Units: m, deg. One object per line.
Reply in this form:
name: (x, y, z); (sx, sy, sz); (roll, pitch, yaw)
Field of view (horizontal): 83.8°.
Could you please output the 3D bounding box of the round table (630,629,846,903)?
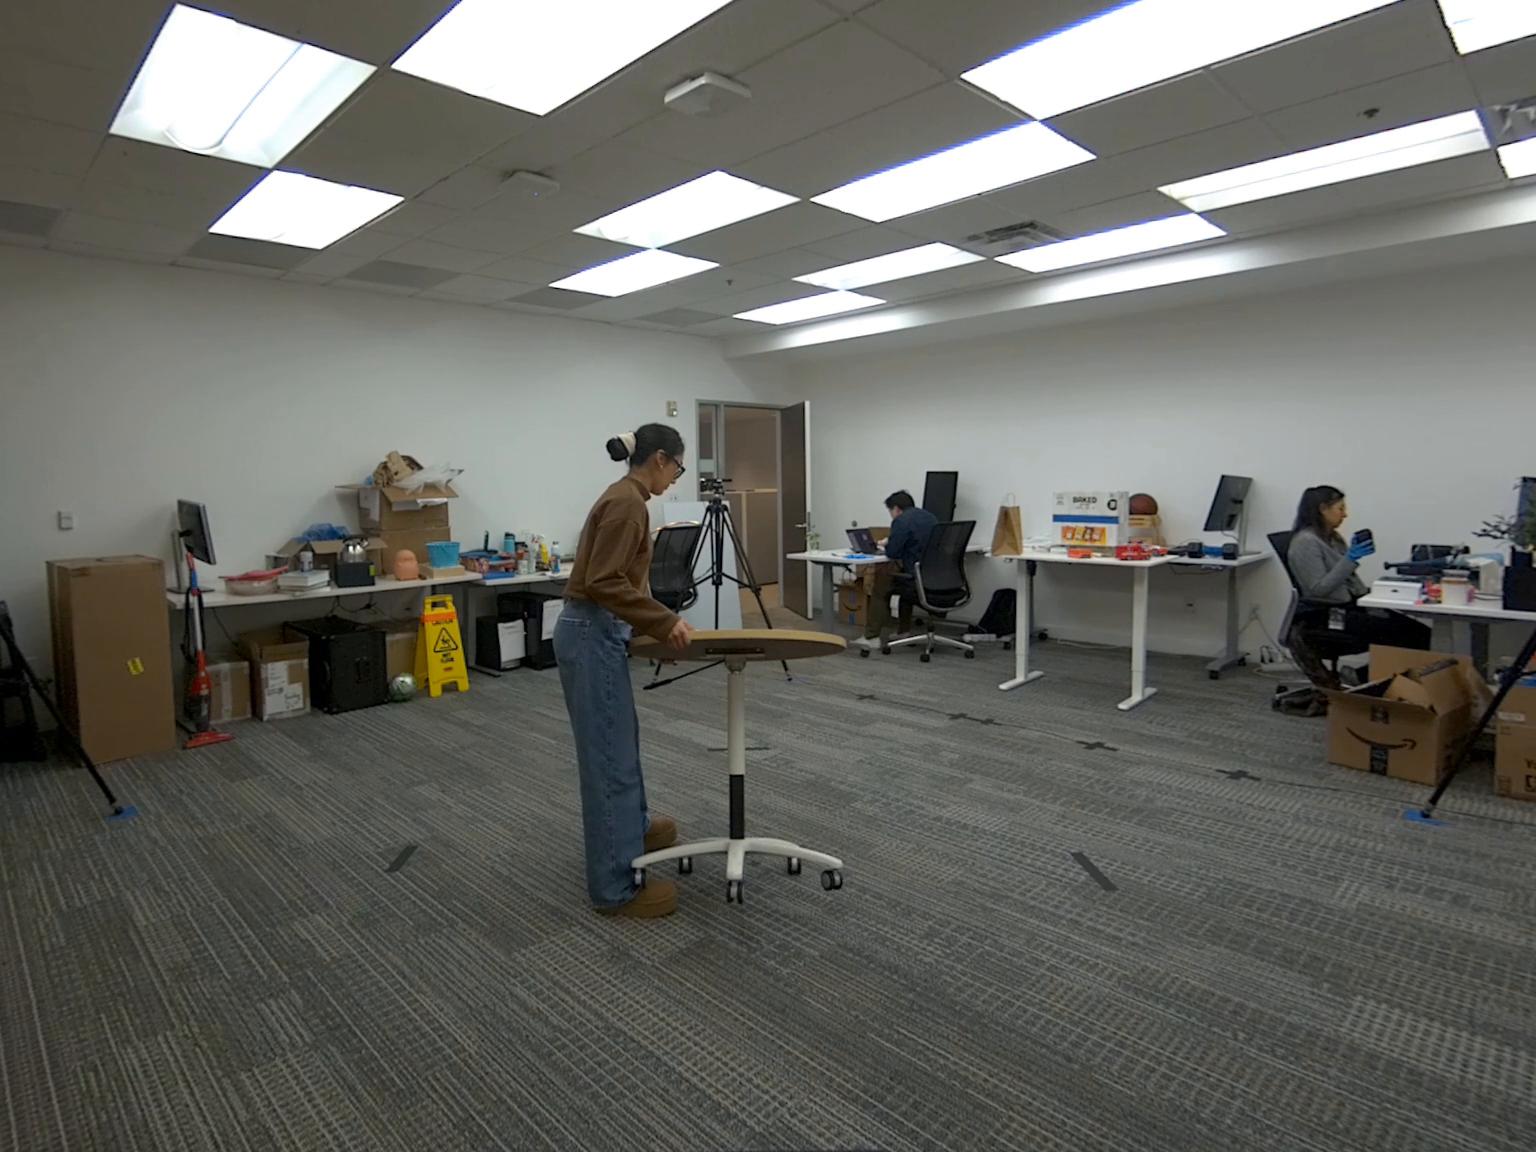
round table: (-0.106, 0.625, 2.879); (0.763, 0.803, 0.756); (-1, -12, -2)
